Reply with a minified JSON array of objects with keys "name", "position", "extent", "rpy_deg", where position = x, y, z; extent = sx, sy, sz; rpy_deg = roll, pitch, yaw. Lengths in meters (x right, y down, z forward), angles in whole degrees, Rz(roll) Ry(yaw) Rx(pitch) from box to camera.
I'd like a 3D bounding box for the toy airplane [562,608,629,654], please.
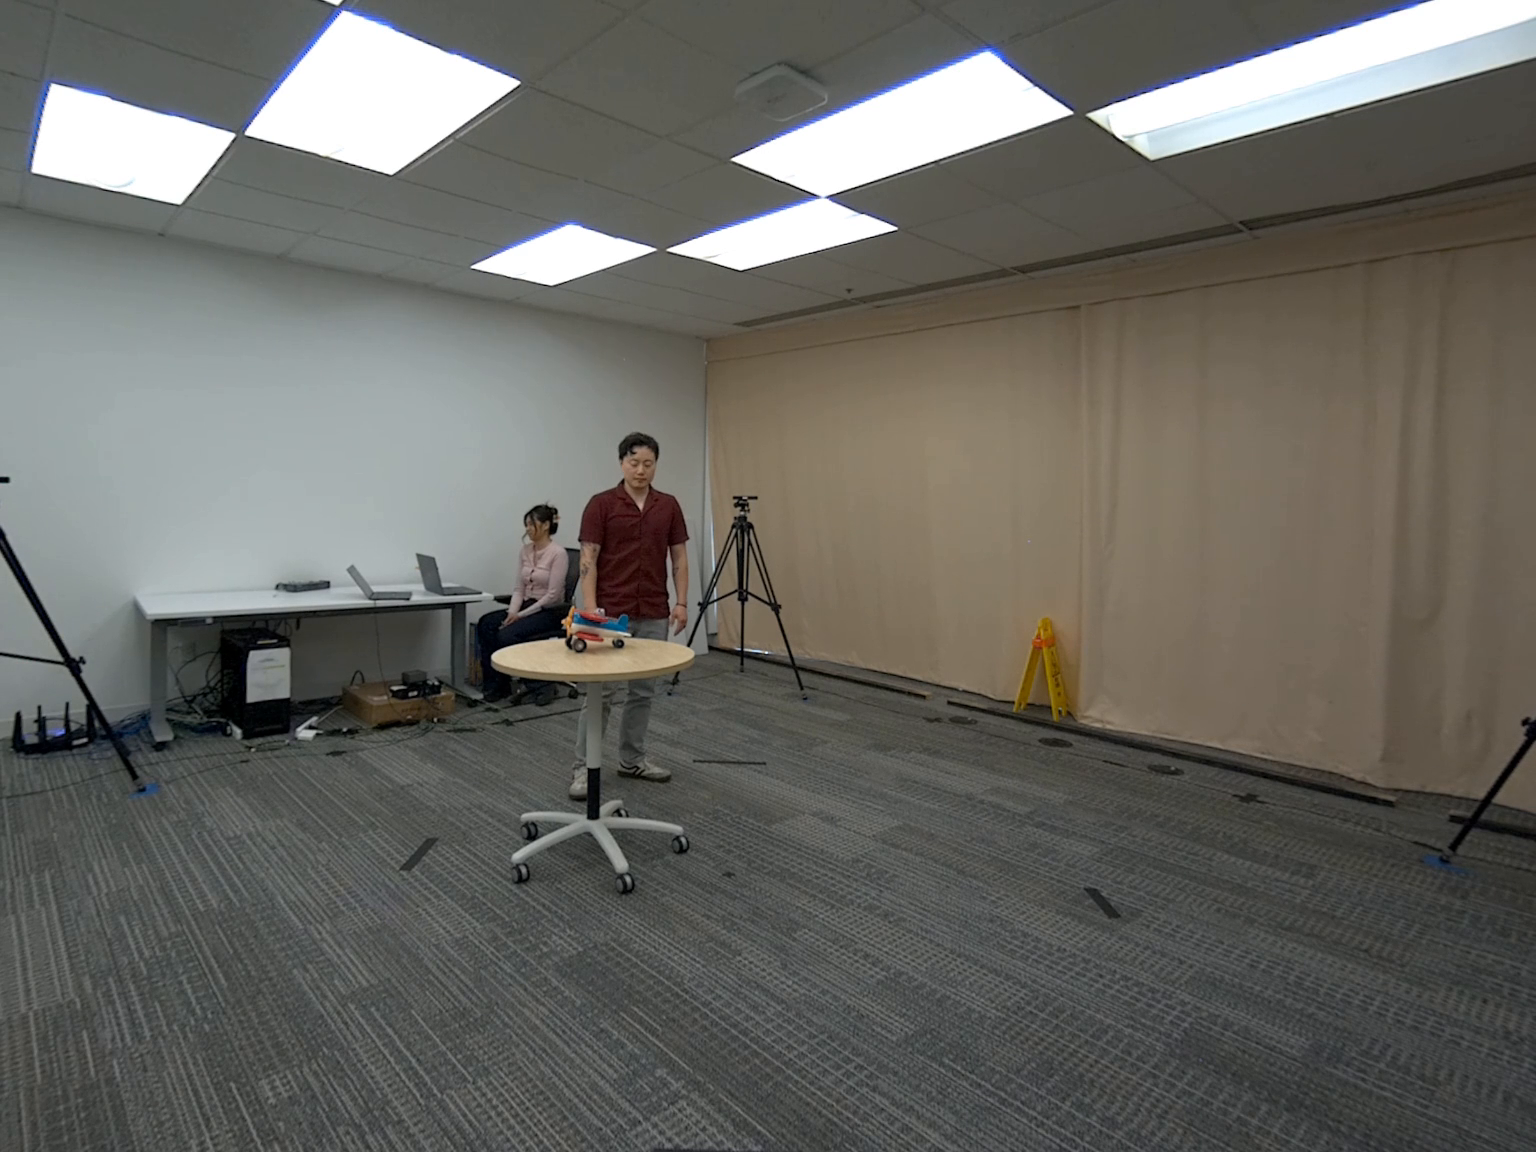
[{"name":"toy airplane","position":[-0.702,0.211,3.325],"extent":[0.257,0.156,0.254],"rpy_deg":[2,5,33]}]
